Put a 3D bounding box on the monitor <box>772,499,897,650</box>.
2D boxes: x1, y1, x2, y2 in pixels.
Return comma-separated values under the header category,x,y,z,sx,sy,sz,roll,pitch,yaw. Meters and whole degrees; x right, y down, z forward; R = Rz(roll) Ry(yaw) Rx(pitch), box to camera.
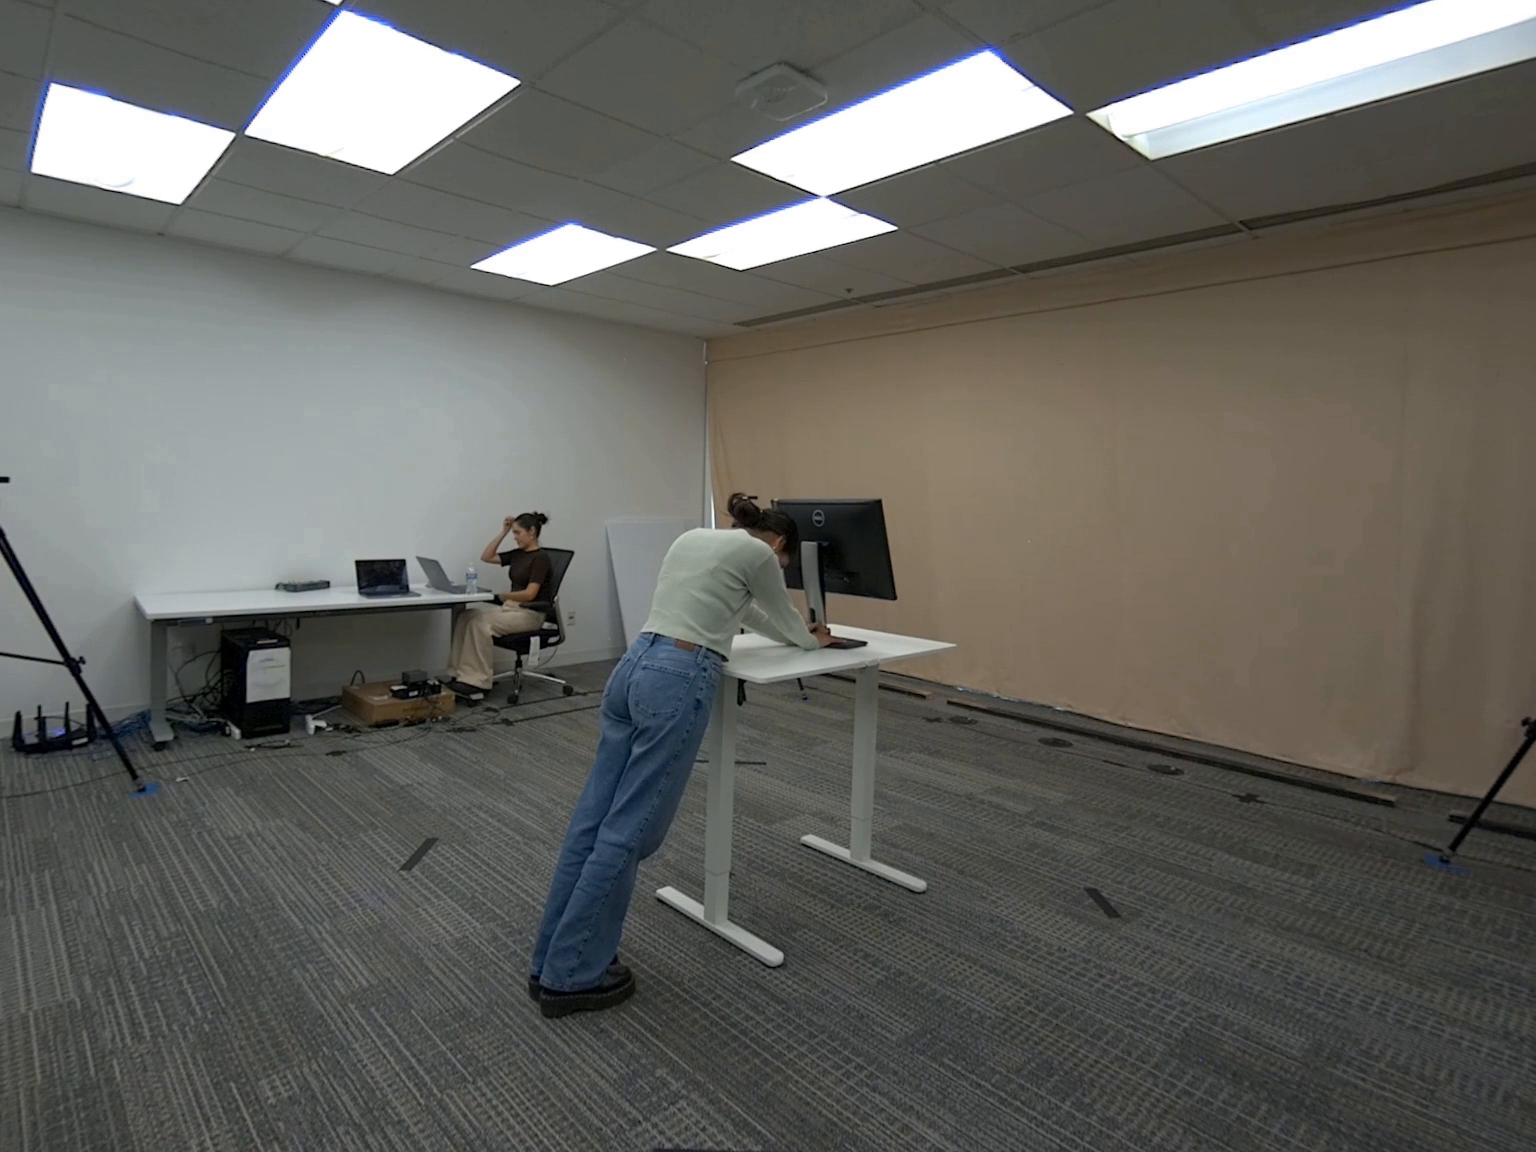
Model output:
category,x,y,z,sx,sy,sz,roll,pitch,yaw
monitor,0.198,-0.012,2.989,0.183,0.521,0.553,-4,5,-43
